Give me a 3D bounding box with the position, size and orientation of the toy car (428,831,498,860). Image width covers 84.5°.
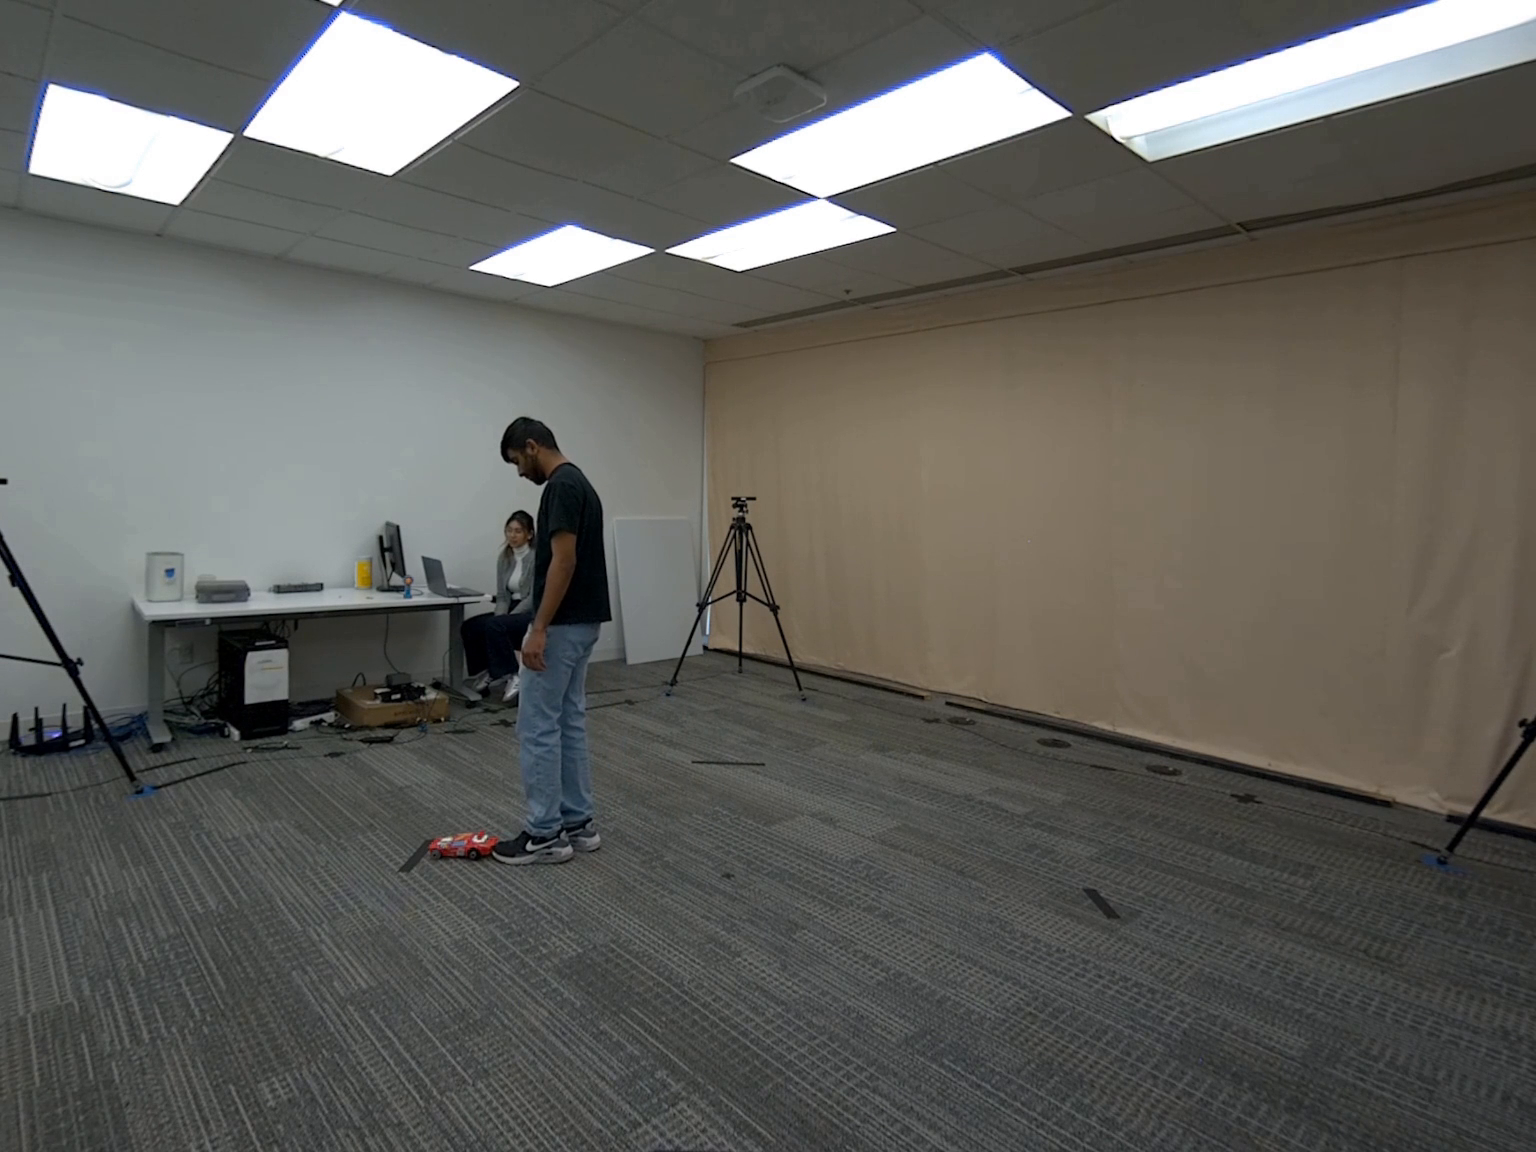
[{"bbox_3d":[-1.166,1.034,3.237,0.255,0.083,0.130,-10,3,1],"label":"toy car"}]
